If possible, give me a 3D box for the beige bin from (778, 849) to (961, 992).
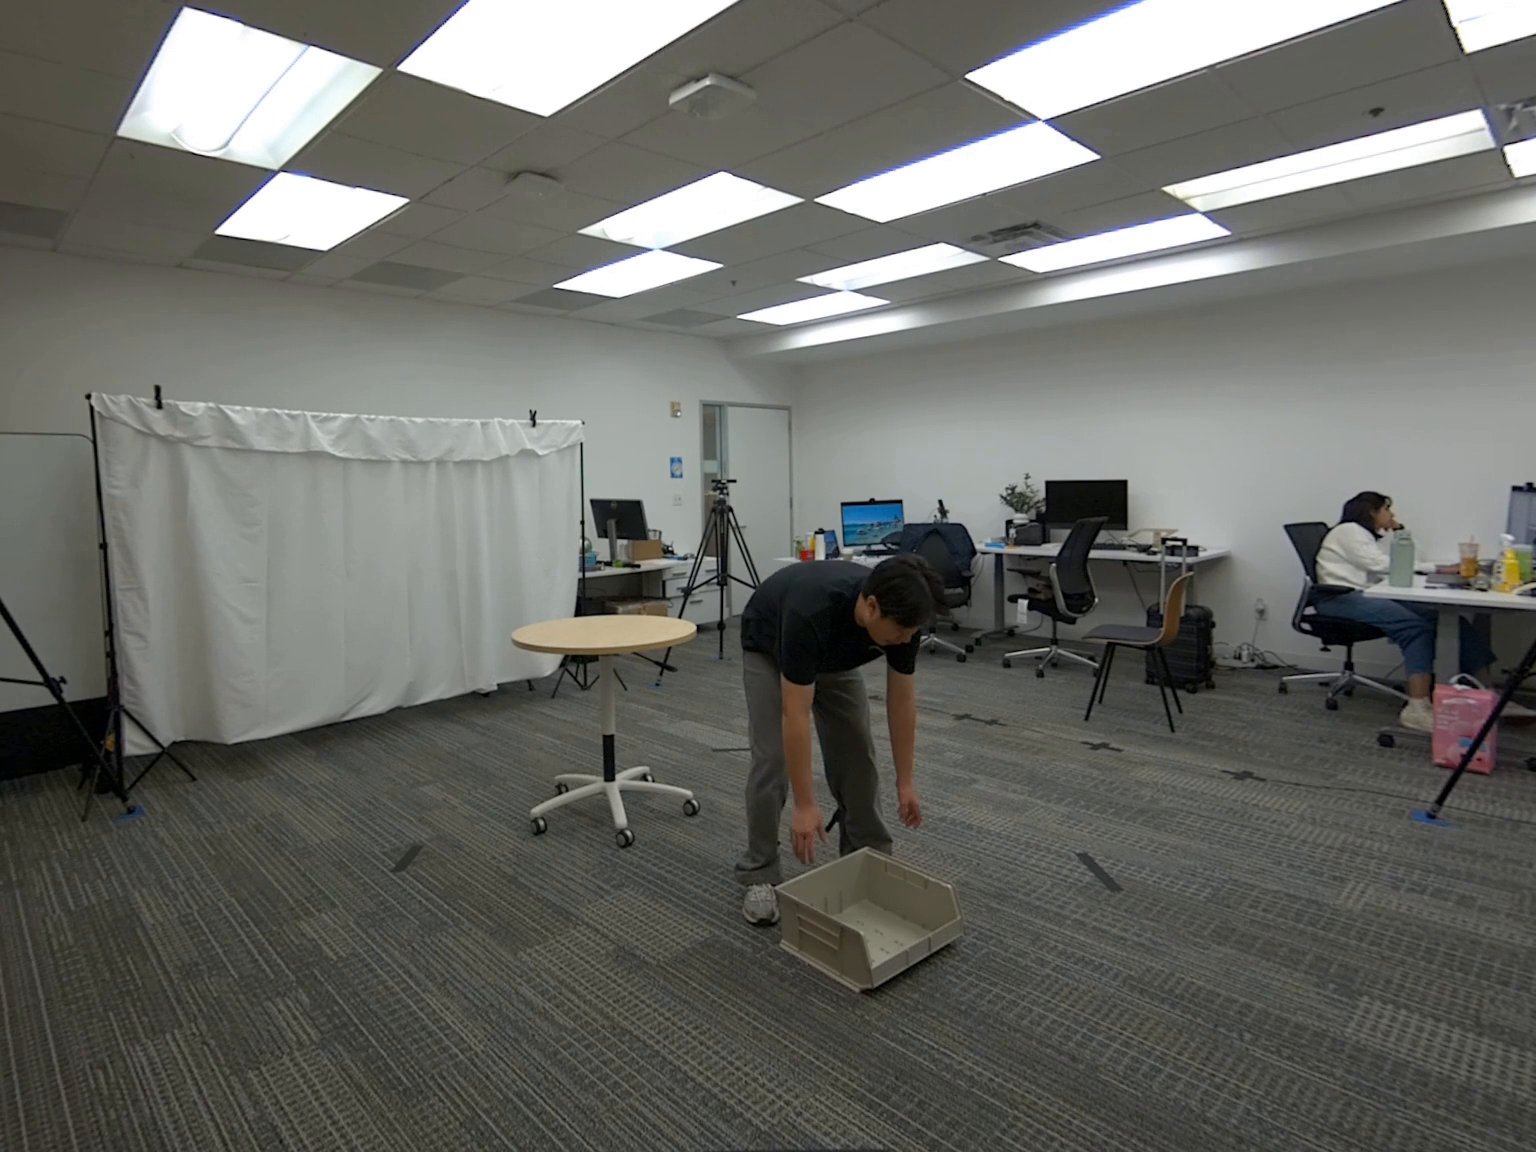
[{"bbox_3d":[0.303,1.014,2.544,0.411,0.188,0.389,-7,8,-42],"label":"beige bin"}]
